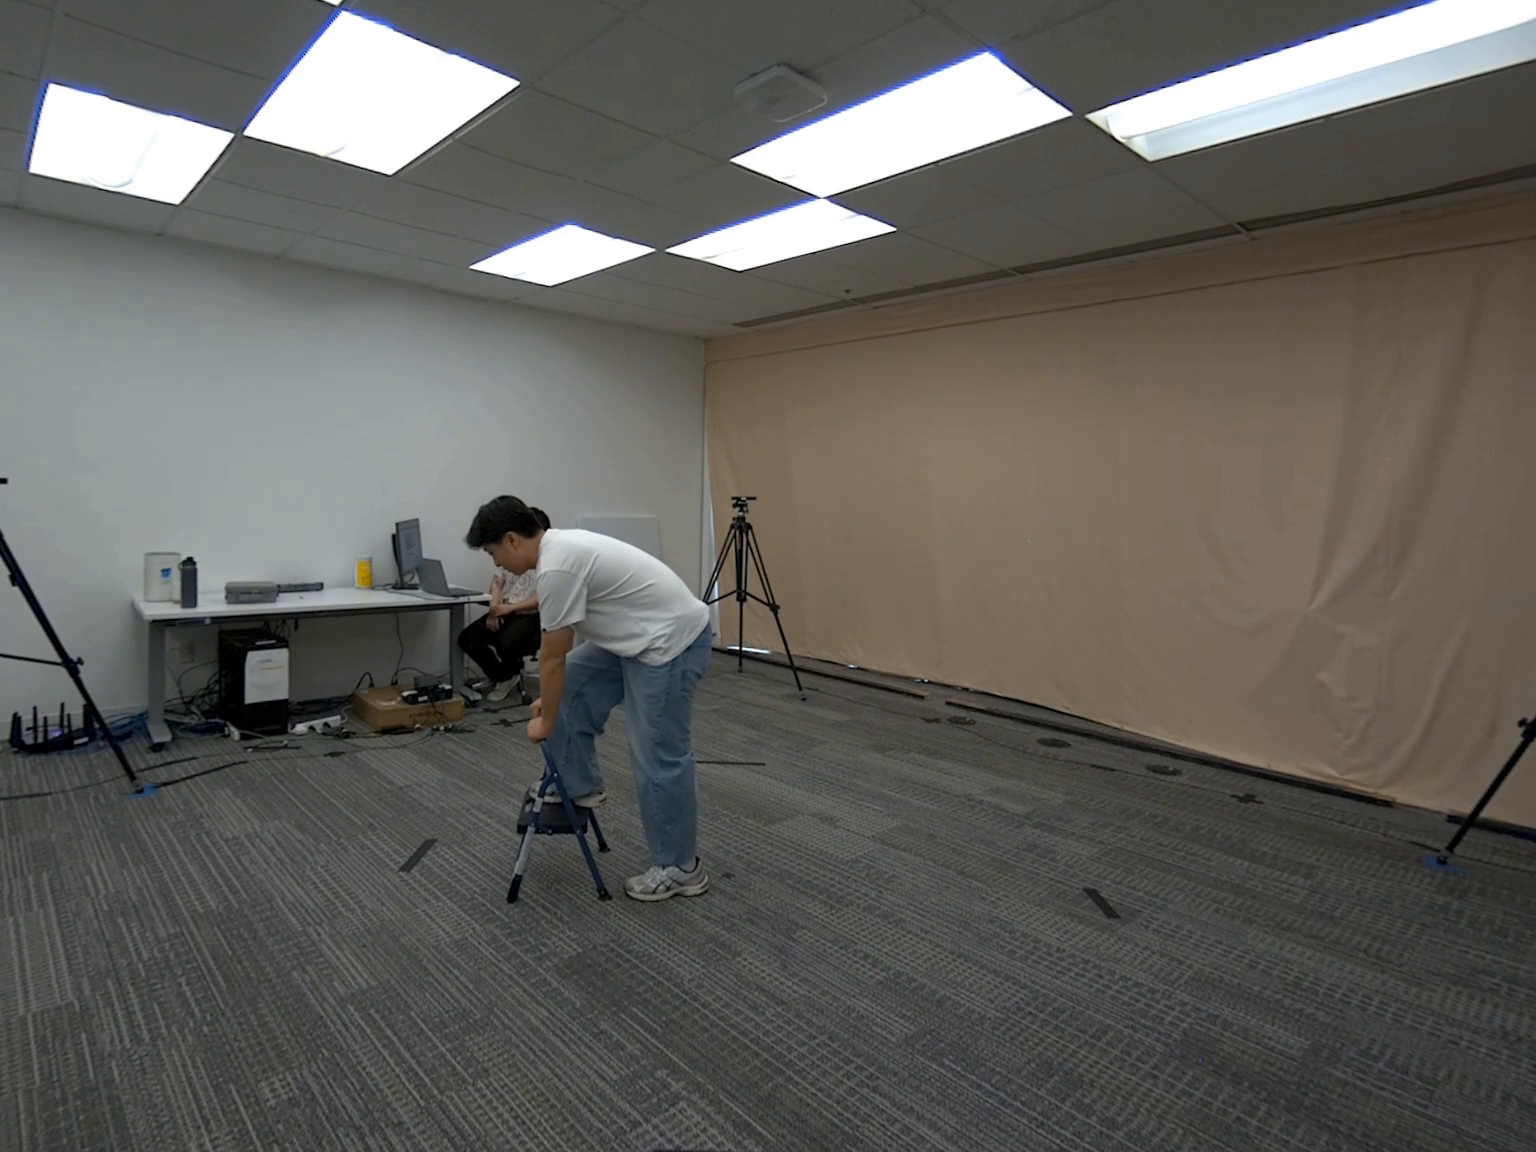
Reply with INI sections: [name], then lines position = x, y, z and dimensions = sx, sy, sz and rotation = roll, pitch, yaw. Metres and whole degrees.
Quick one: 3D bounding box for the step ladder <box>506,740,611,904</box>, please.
[step ladder]
position = -0.754, 0.796, 3.069
dimensions = 0.346, 0.605, 0.435
rotation = 0, 3, -10
